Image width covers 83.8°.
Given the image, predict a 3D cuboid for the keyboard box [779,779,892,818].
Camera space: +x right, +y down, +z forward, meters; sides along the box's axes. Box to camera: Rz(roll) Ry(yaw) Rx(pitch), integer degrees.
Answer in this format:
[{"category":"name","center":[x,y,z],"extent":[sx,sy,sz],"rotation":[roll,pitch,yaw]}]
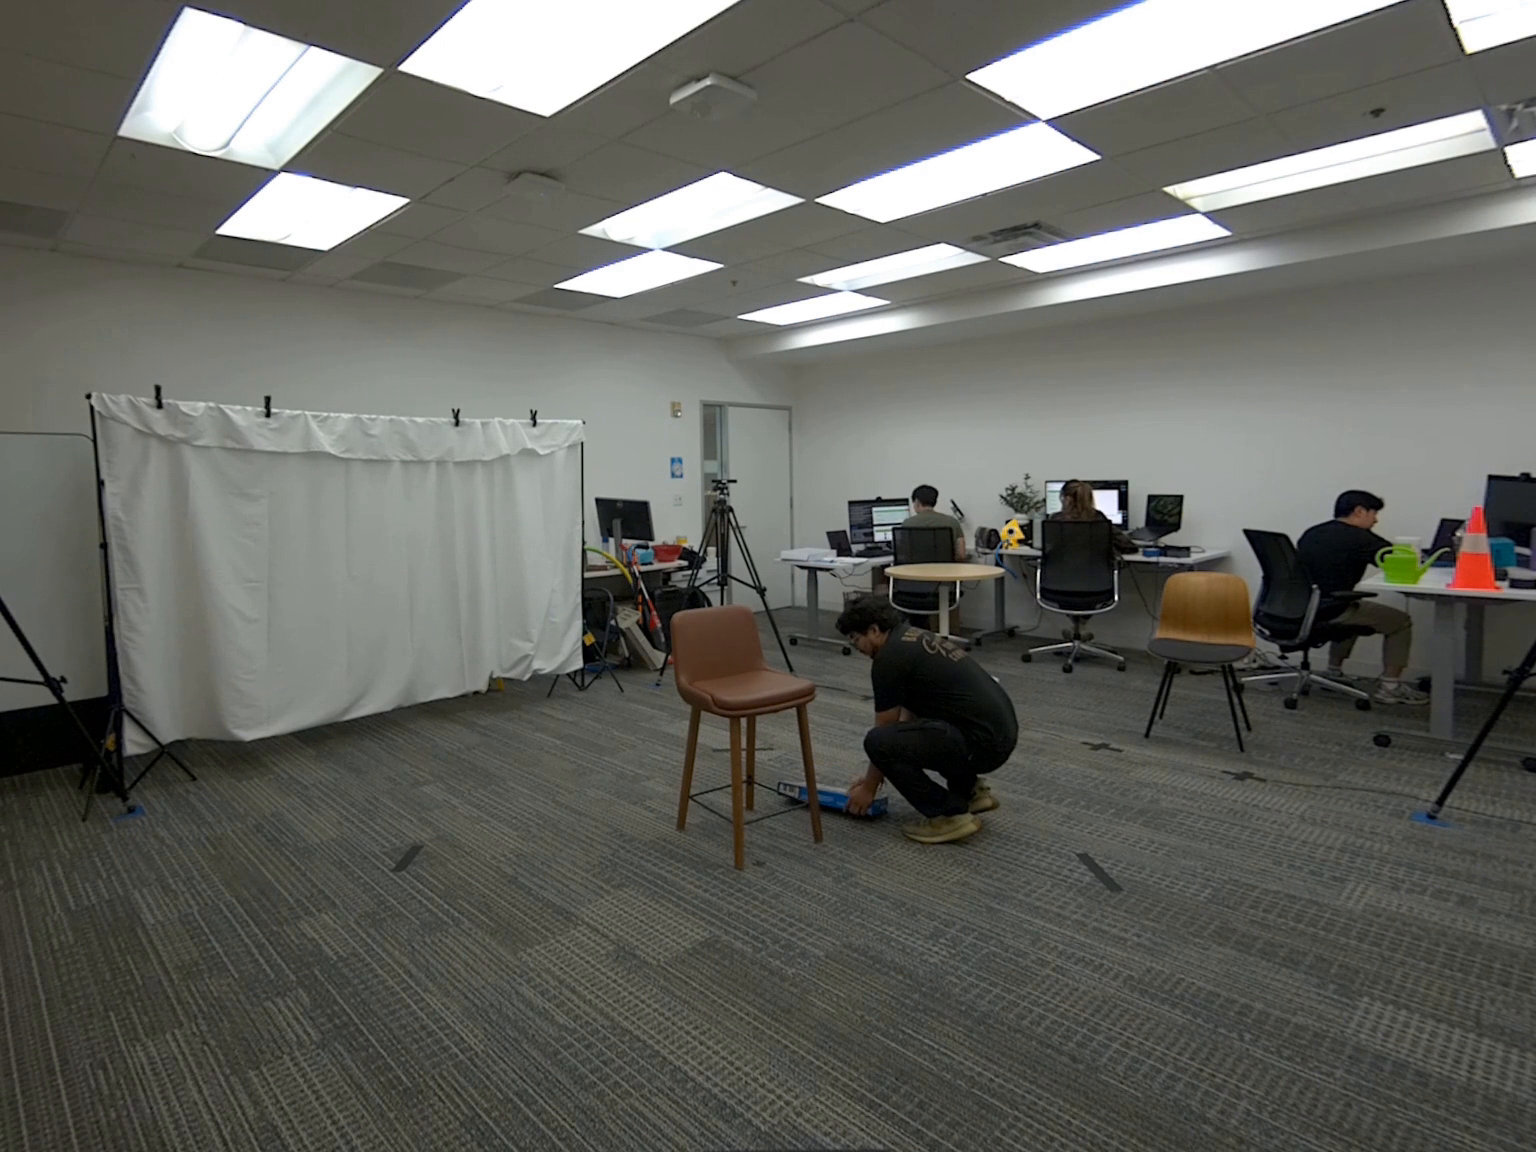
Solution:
[{"category":"keyboard box","center":[0.282,0.940,3.647],"extent":[0.448,0.059,0.170],"rotation":[4,-6,30]}]
